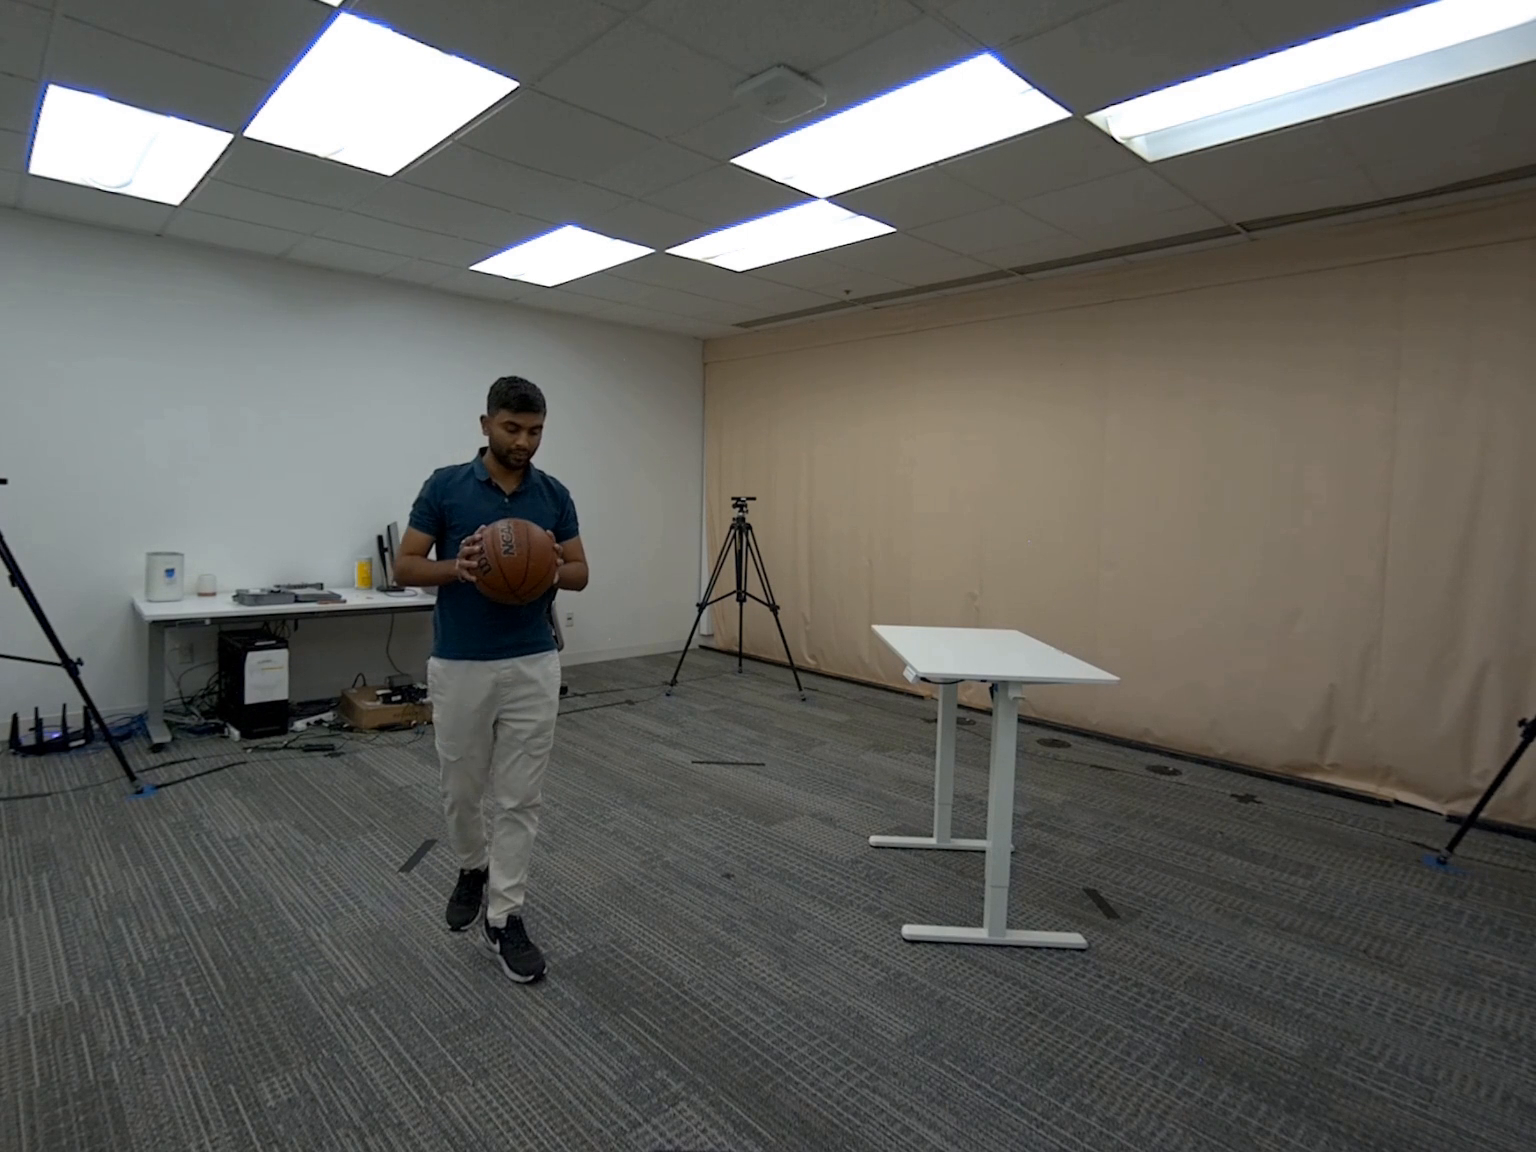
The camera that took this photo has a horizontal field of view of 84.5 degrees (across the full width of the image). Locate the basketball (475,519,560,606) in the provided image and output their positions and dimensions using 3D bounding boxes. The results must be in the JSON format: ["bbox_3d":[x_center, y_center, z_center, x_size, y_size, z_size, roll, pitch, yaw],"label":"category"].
[{"bbox_3d":[-0.715,-0.039,2.304,0.236,0.235,0.237,1,4,-1],"label":"basketball"}]
